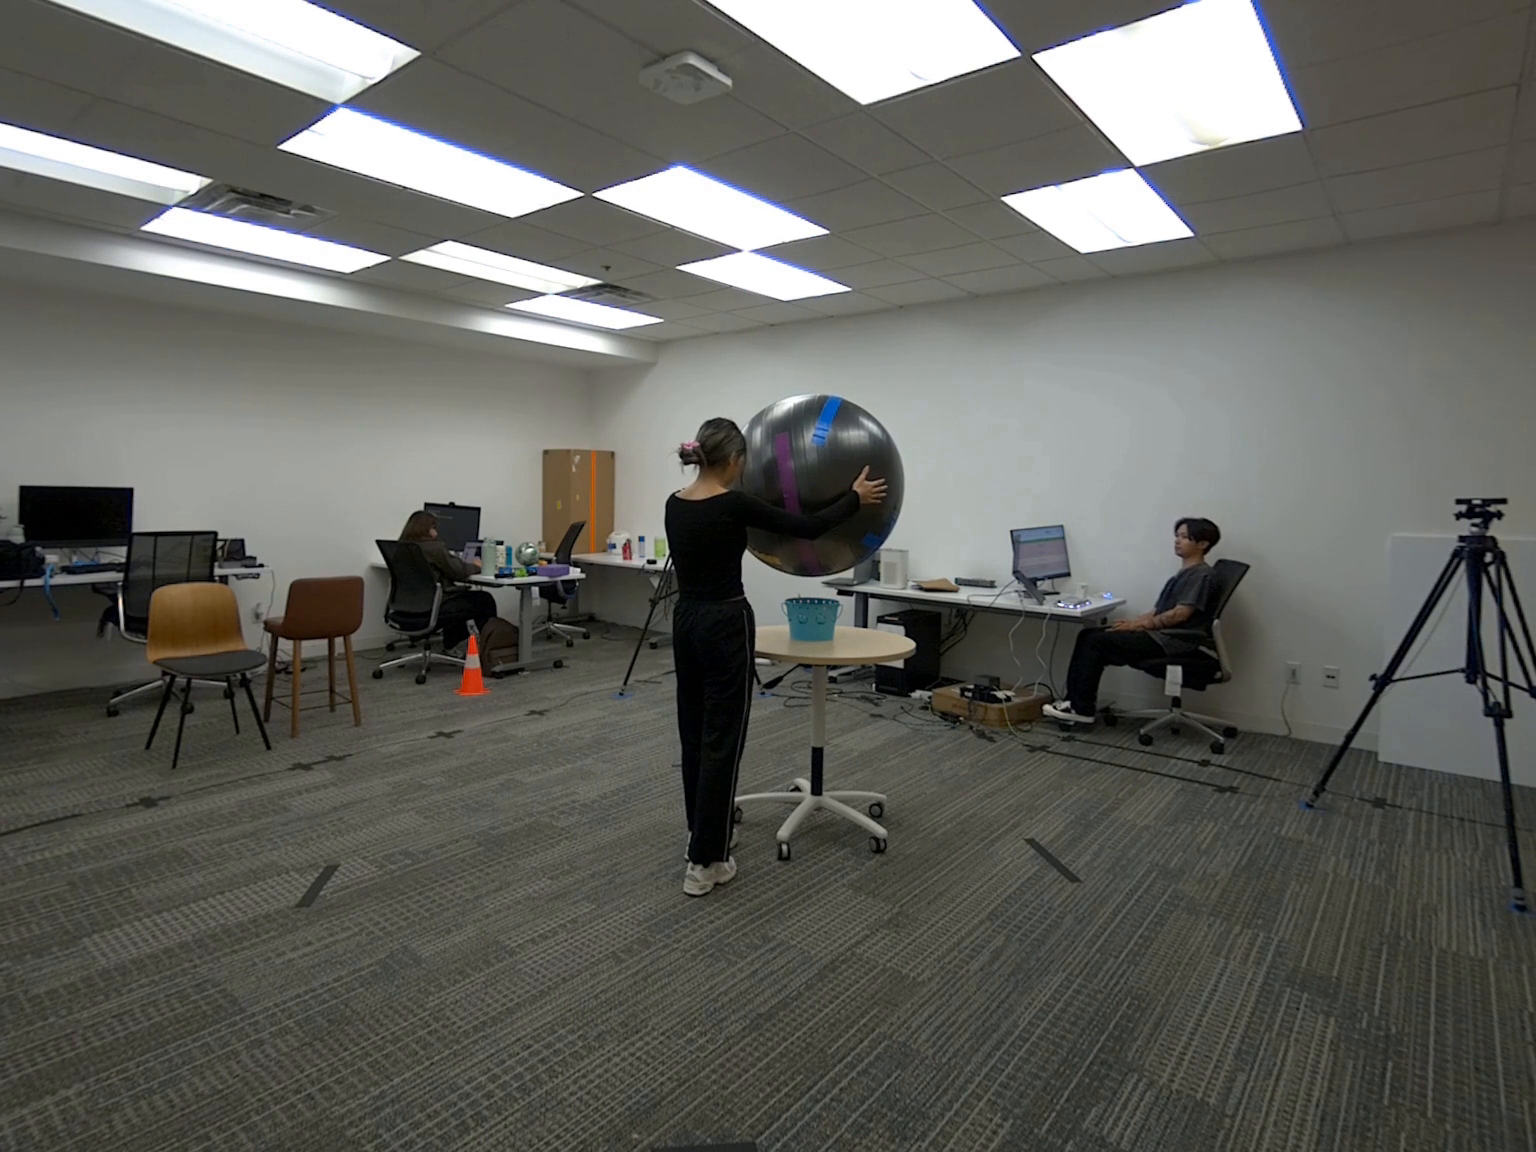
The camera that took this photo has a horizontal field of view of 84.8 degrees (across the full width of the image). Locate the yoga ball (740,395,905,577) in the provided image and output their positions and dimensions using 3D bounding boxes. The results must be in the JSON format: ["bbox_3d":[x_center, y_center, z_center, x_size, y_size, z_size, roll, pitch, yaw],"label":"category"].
[{"bbox_3d":[0.188,-0.374,3.554,0.757,0.756,0.762,1,4,-2],"label":"yoga ball"}]
